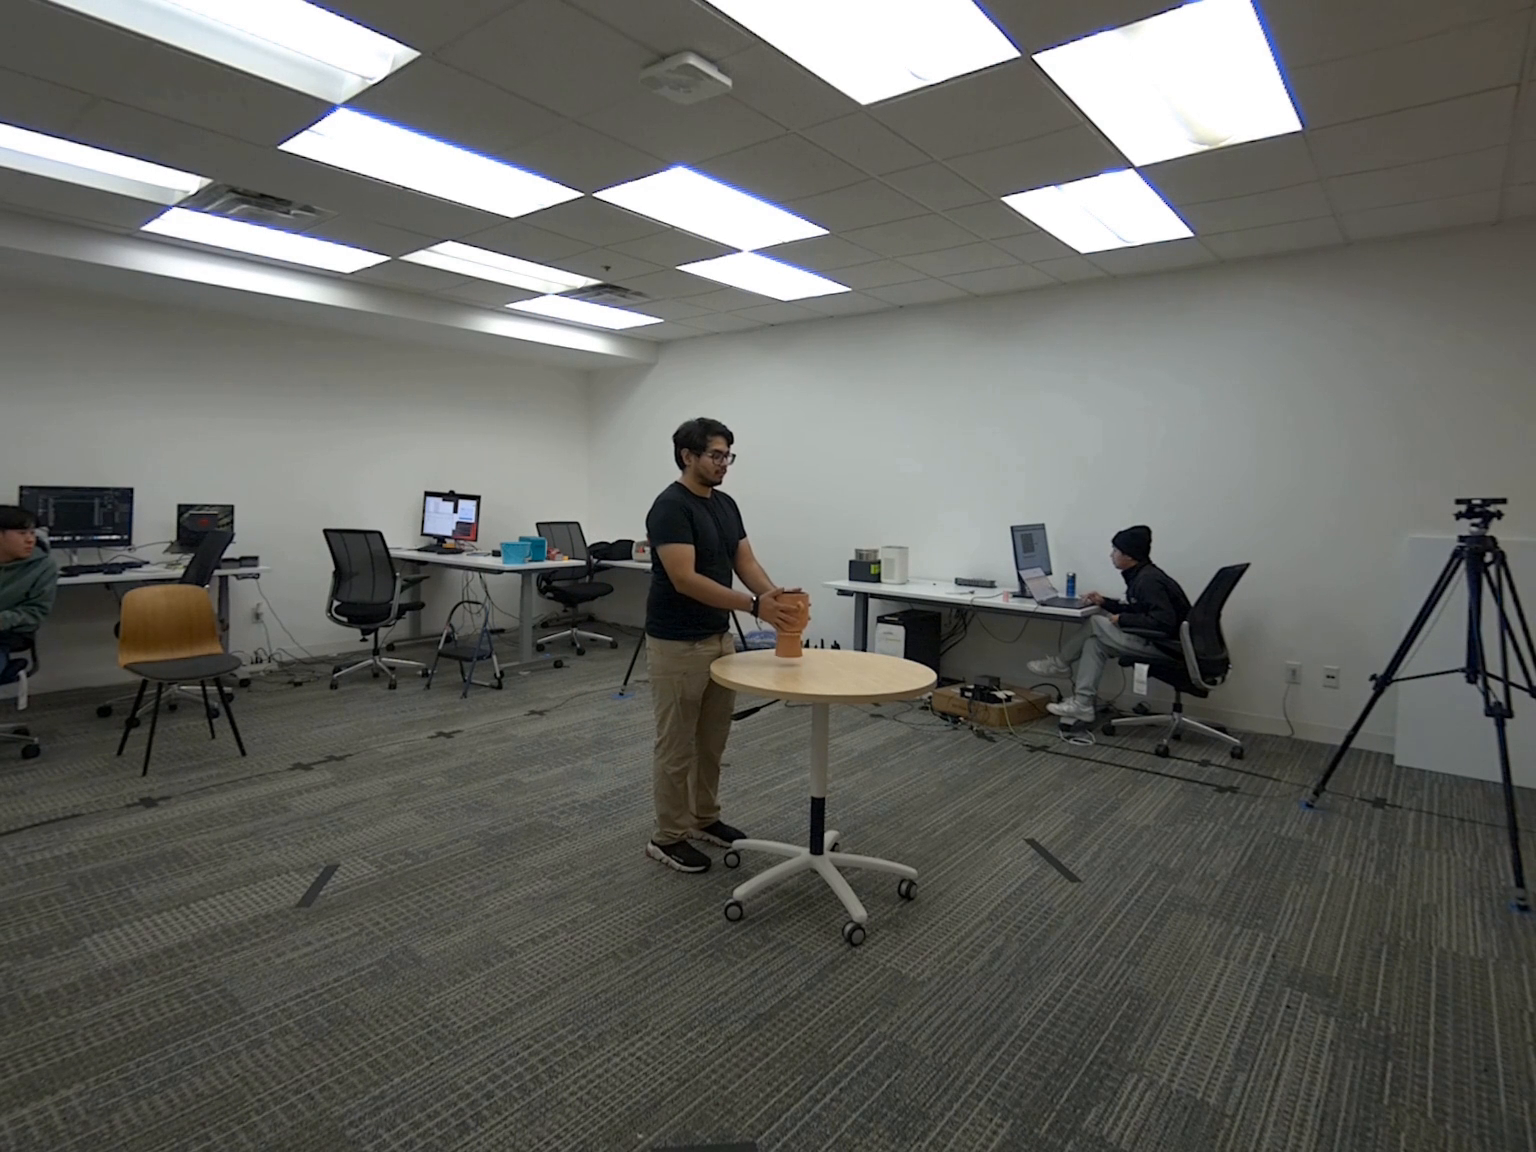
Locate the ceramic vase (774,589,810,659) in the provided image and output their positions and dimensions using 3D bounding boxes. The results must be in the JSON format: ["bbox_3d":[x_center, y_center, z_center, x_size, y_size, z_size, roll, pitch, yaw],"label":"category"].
[{"bbox_3d":[0.067,0.167,2.969,0.137,0.219,0.156,2,2,14],"label":"ceramic vase"}]
